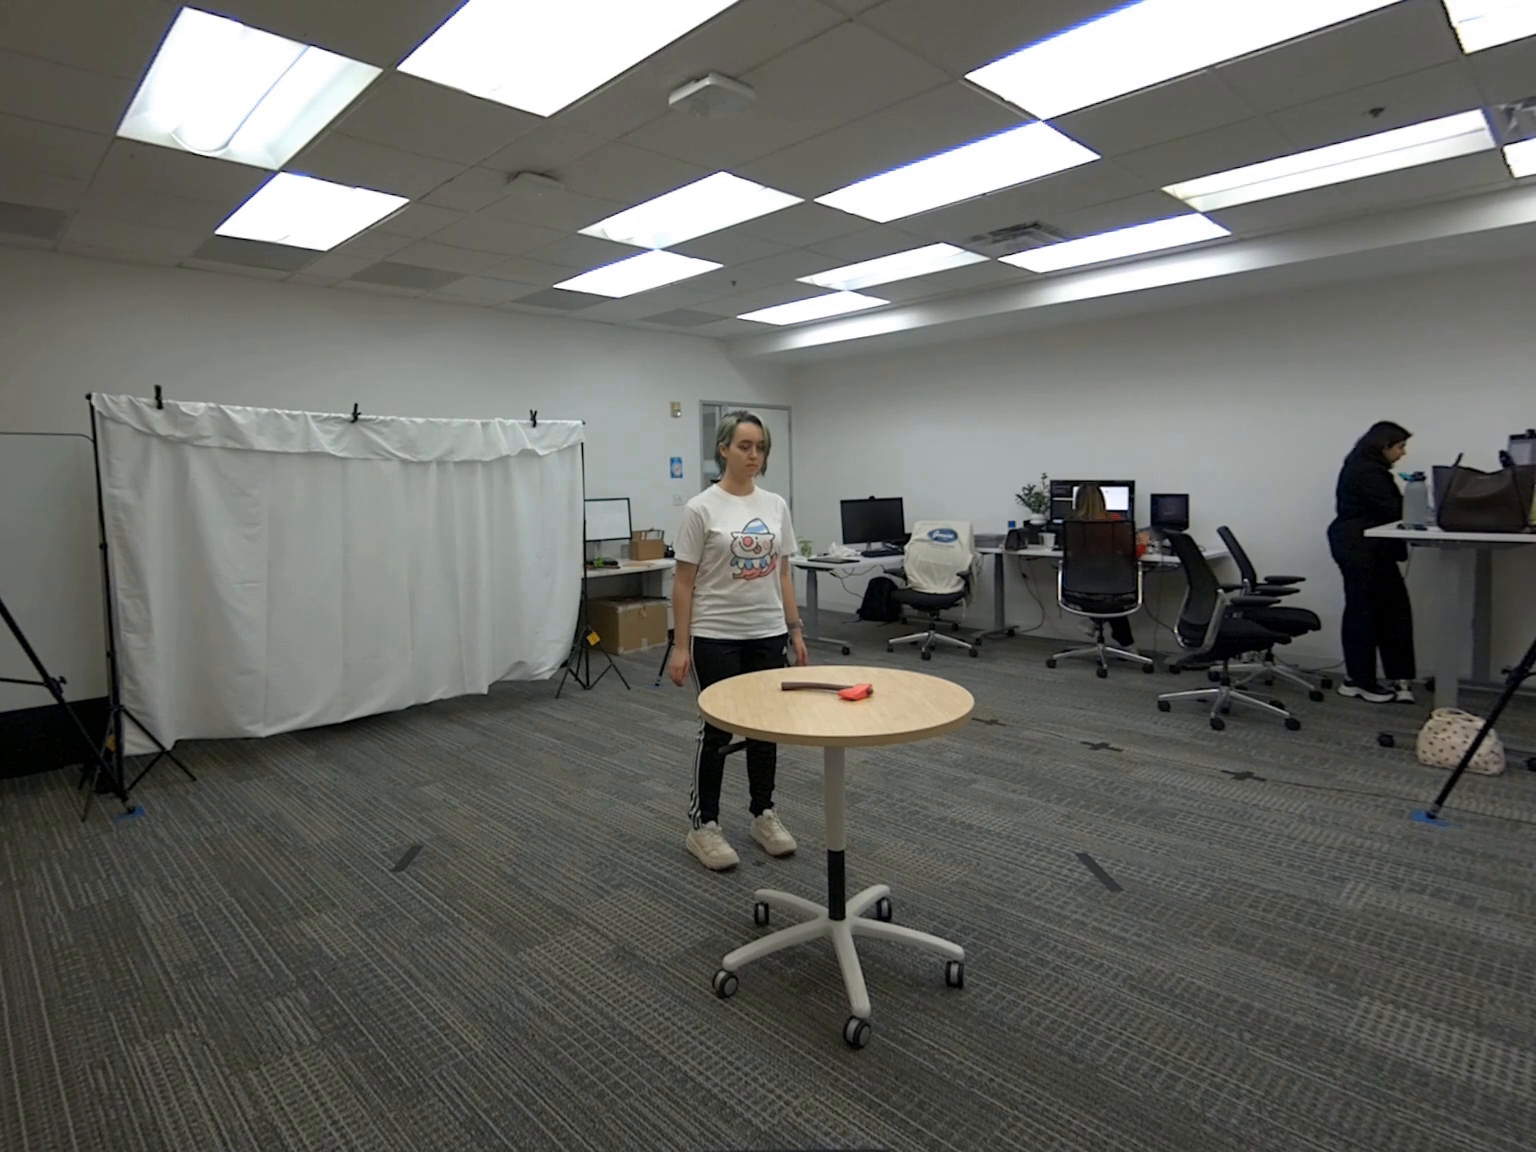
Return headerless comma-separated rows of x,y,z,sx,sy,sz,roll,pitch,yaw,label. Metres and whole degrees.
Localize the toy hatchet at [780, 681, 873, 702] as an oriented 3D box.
0.165,0.324,2.426,0.273,0.029,0.131,-3,11,12,toy hatchet
